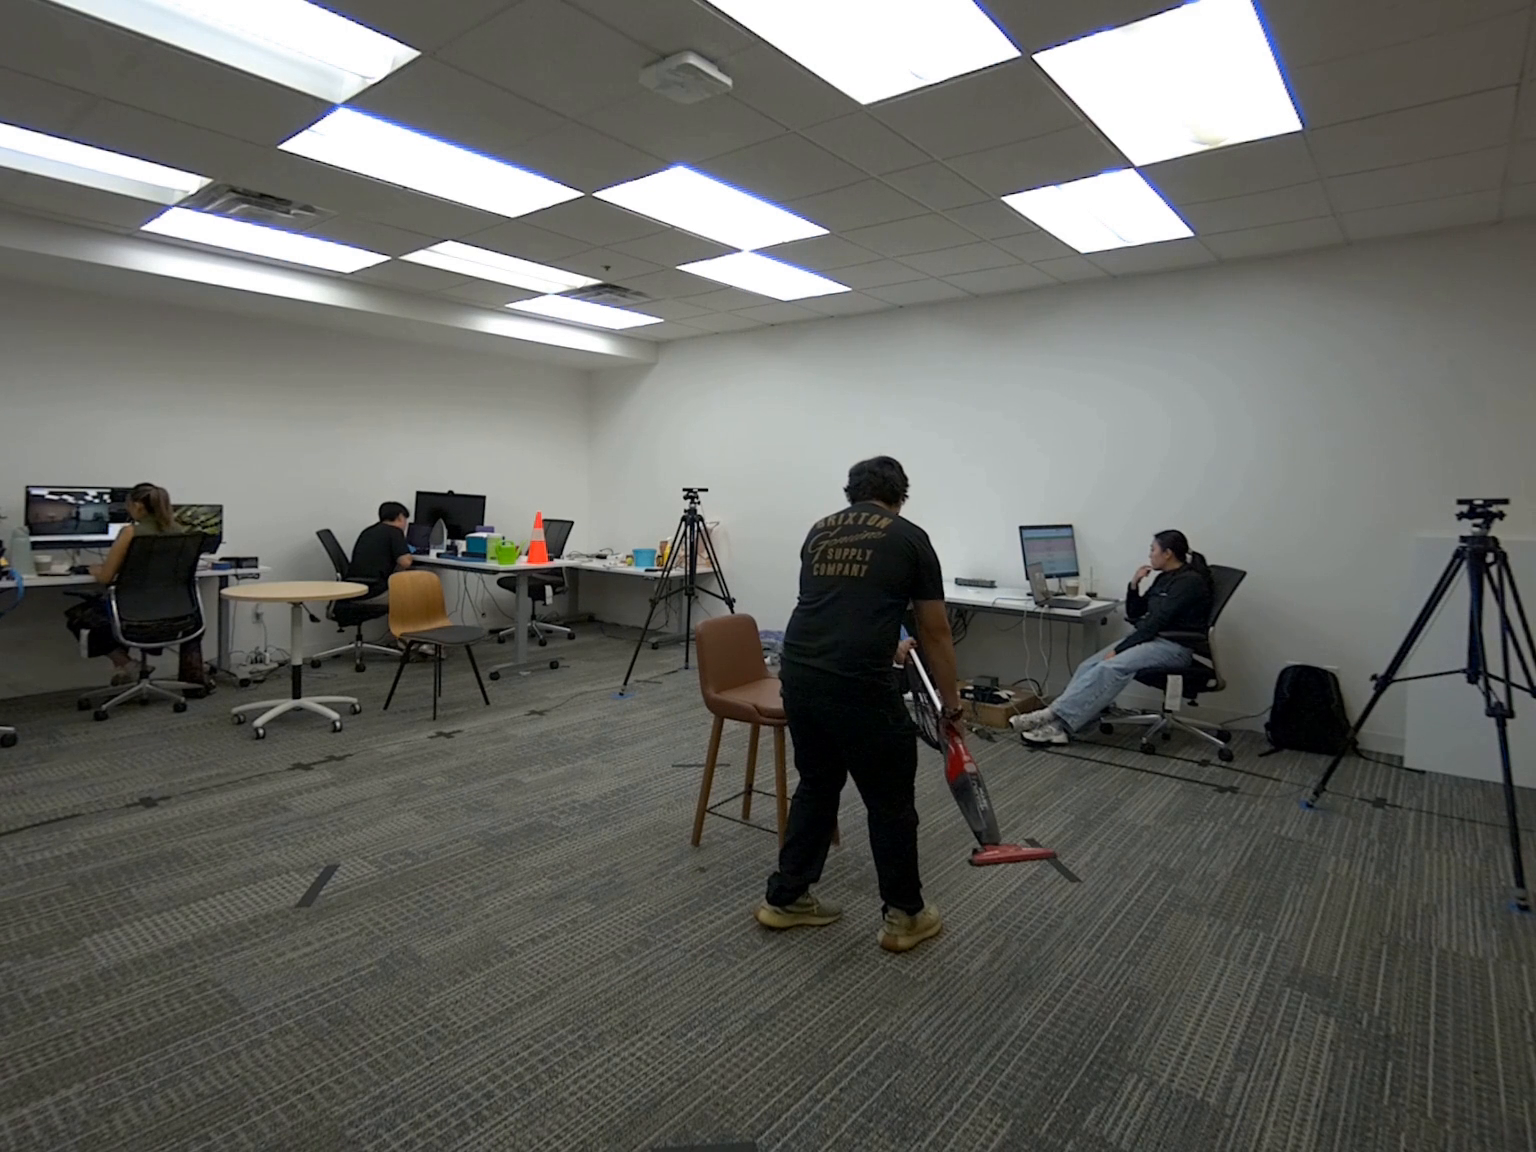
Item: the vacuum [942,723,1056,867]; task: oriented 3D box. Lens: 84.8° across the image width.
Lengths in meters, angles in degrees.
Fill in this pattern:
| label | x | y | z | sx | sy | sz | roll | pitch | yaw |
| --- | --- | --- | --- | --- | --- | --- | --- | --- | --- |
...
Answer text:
| label | x | y | z | sx | sy | sz | roll | pitch | yaw |
| --- | --- | --- | --- | --- | --- | --- | --- | --- | --- |
| vacuum | 0.574 | 0.493 | 2.839 | 0.250 | 0.140 | 1.088 | -4 | 40 | -12 |
